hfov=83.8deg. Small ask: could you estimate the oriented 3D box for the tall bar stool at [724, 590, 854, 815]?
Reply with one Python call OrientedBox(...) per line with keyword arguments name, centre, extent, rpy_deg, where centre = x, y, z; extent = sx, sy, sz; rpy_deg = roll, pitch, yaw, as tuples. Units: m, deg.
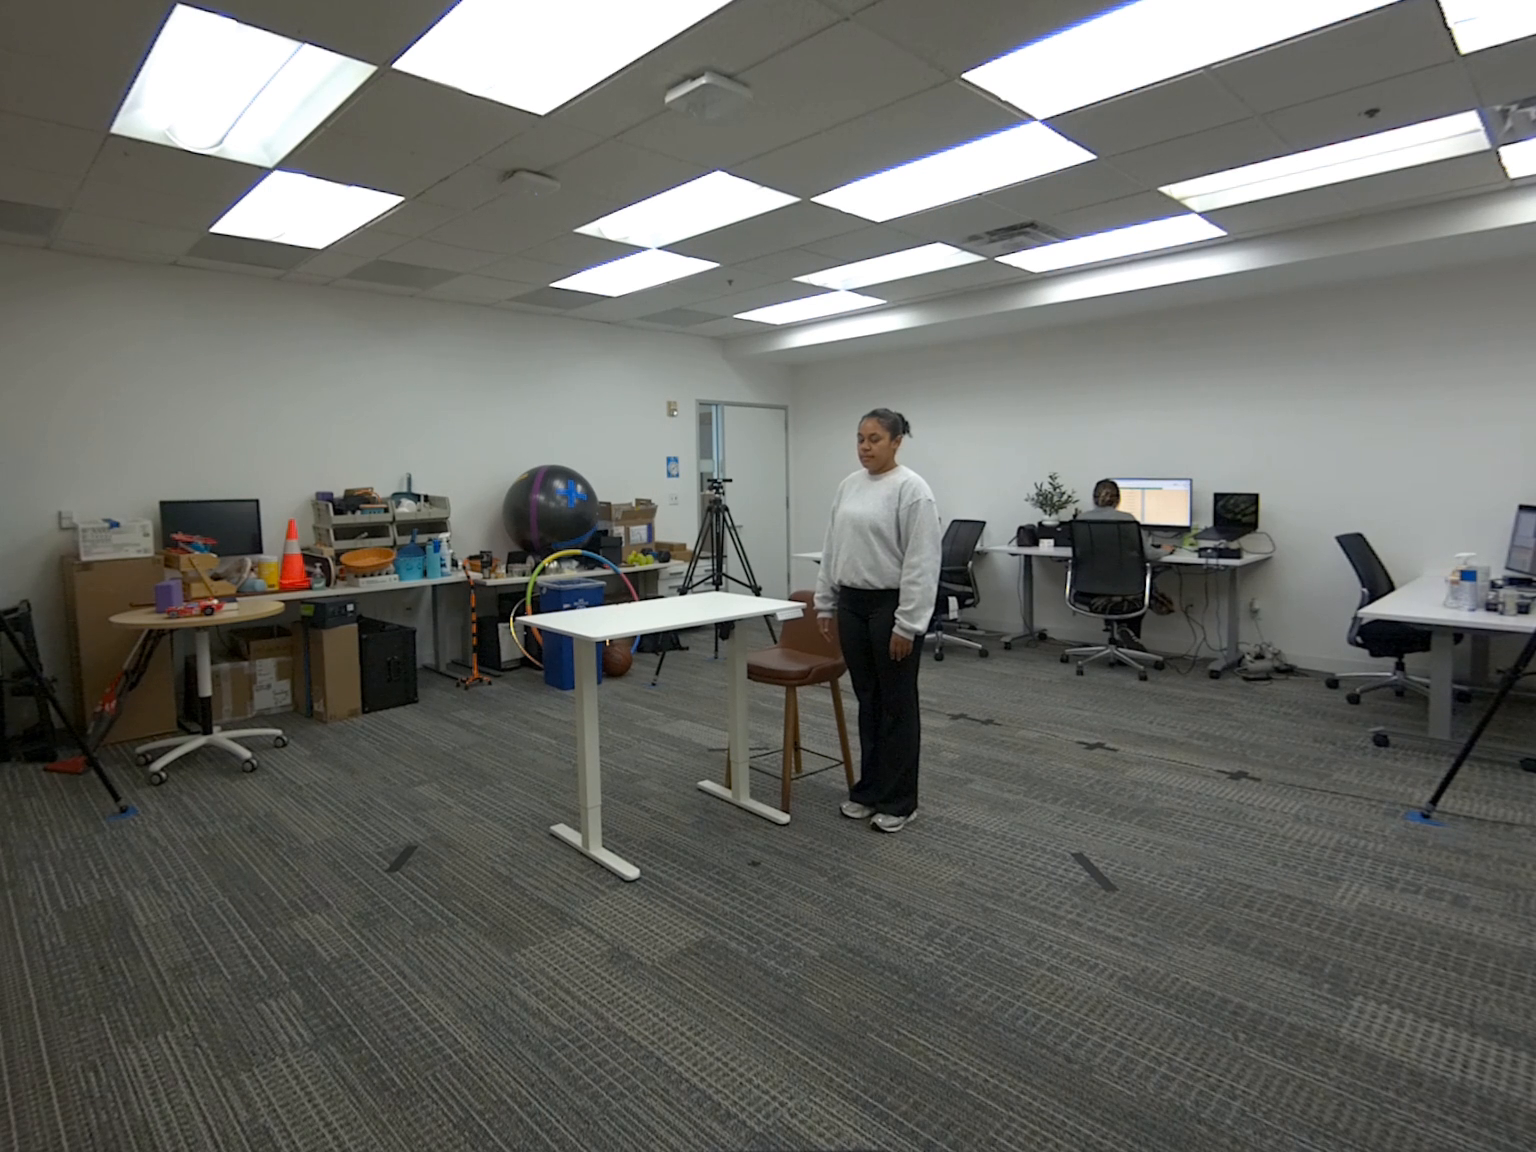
OrientedBox(name="tall bar stool", centre=(0.105, 0.531, 3.778), extent=(0.454, 0.888, 0.470), rpy_deg=(-1, 3, -40))
